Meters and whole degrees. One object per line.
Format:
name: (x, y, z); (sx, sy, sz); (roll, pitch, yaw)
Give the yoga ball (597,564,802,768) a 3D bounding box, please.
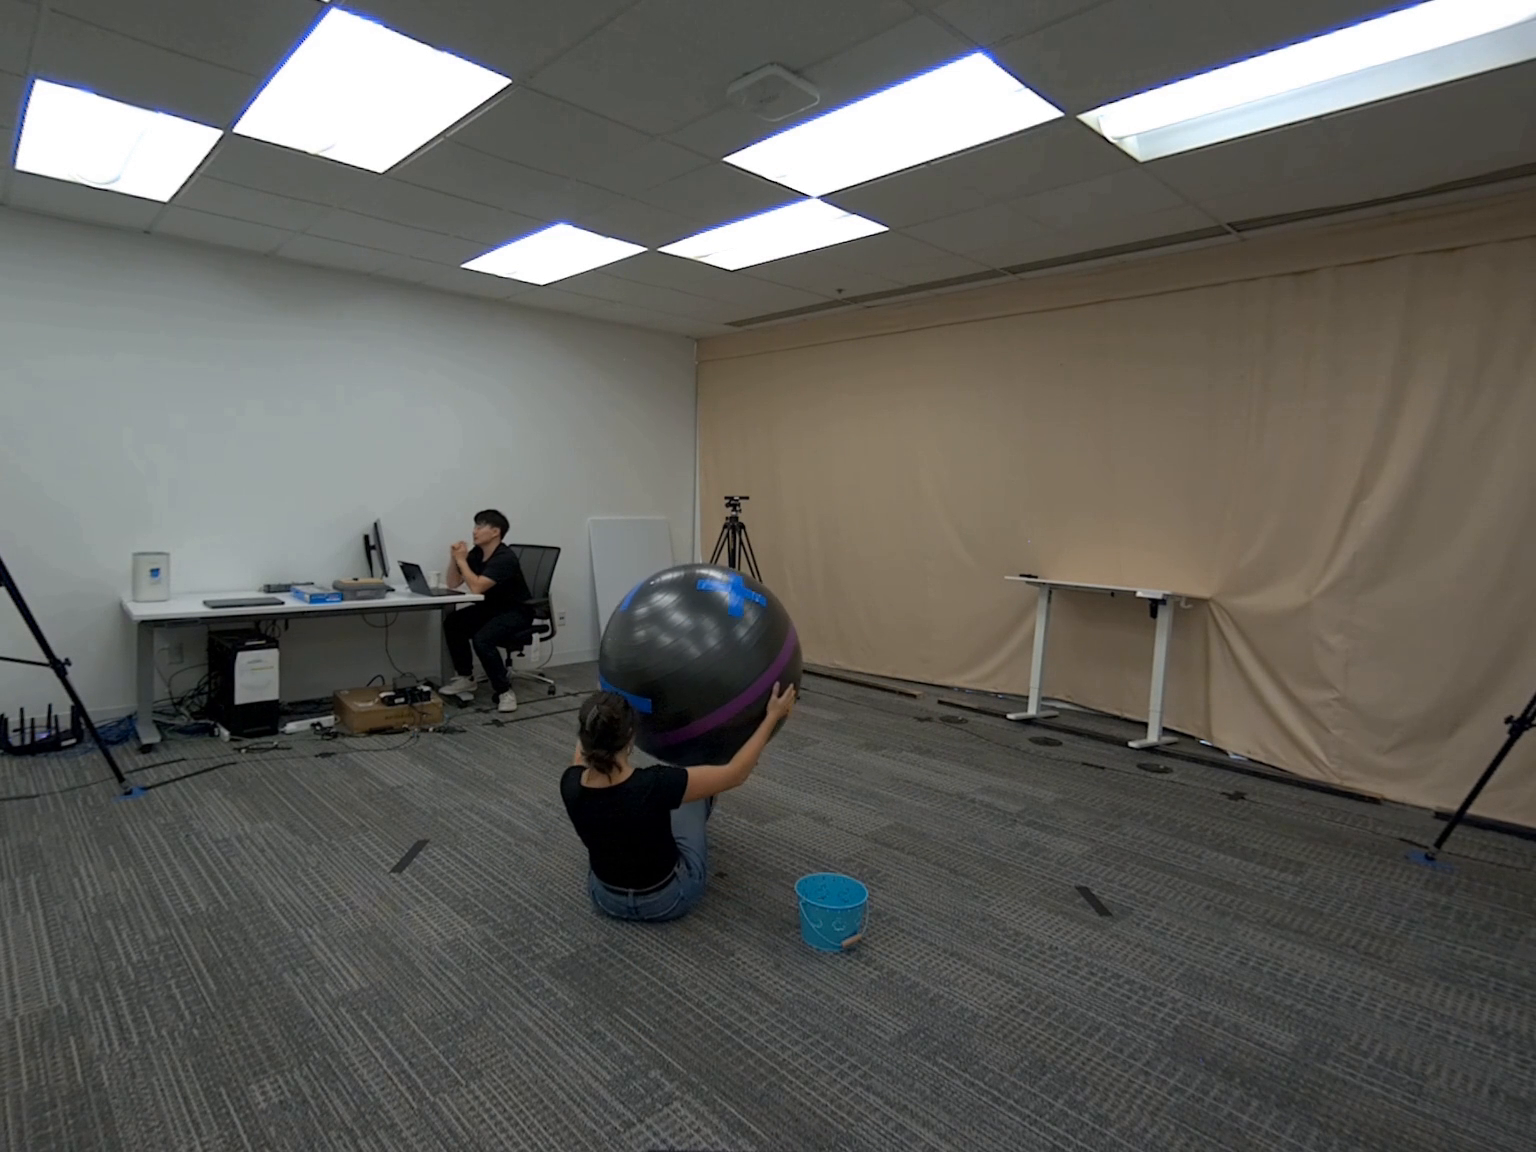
yoga ball: (-0.251, 0.338, 3.128); (0.757, 0.756, 0.761); (1, 4, -1)
